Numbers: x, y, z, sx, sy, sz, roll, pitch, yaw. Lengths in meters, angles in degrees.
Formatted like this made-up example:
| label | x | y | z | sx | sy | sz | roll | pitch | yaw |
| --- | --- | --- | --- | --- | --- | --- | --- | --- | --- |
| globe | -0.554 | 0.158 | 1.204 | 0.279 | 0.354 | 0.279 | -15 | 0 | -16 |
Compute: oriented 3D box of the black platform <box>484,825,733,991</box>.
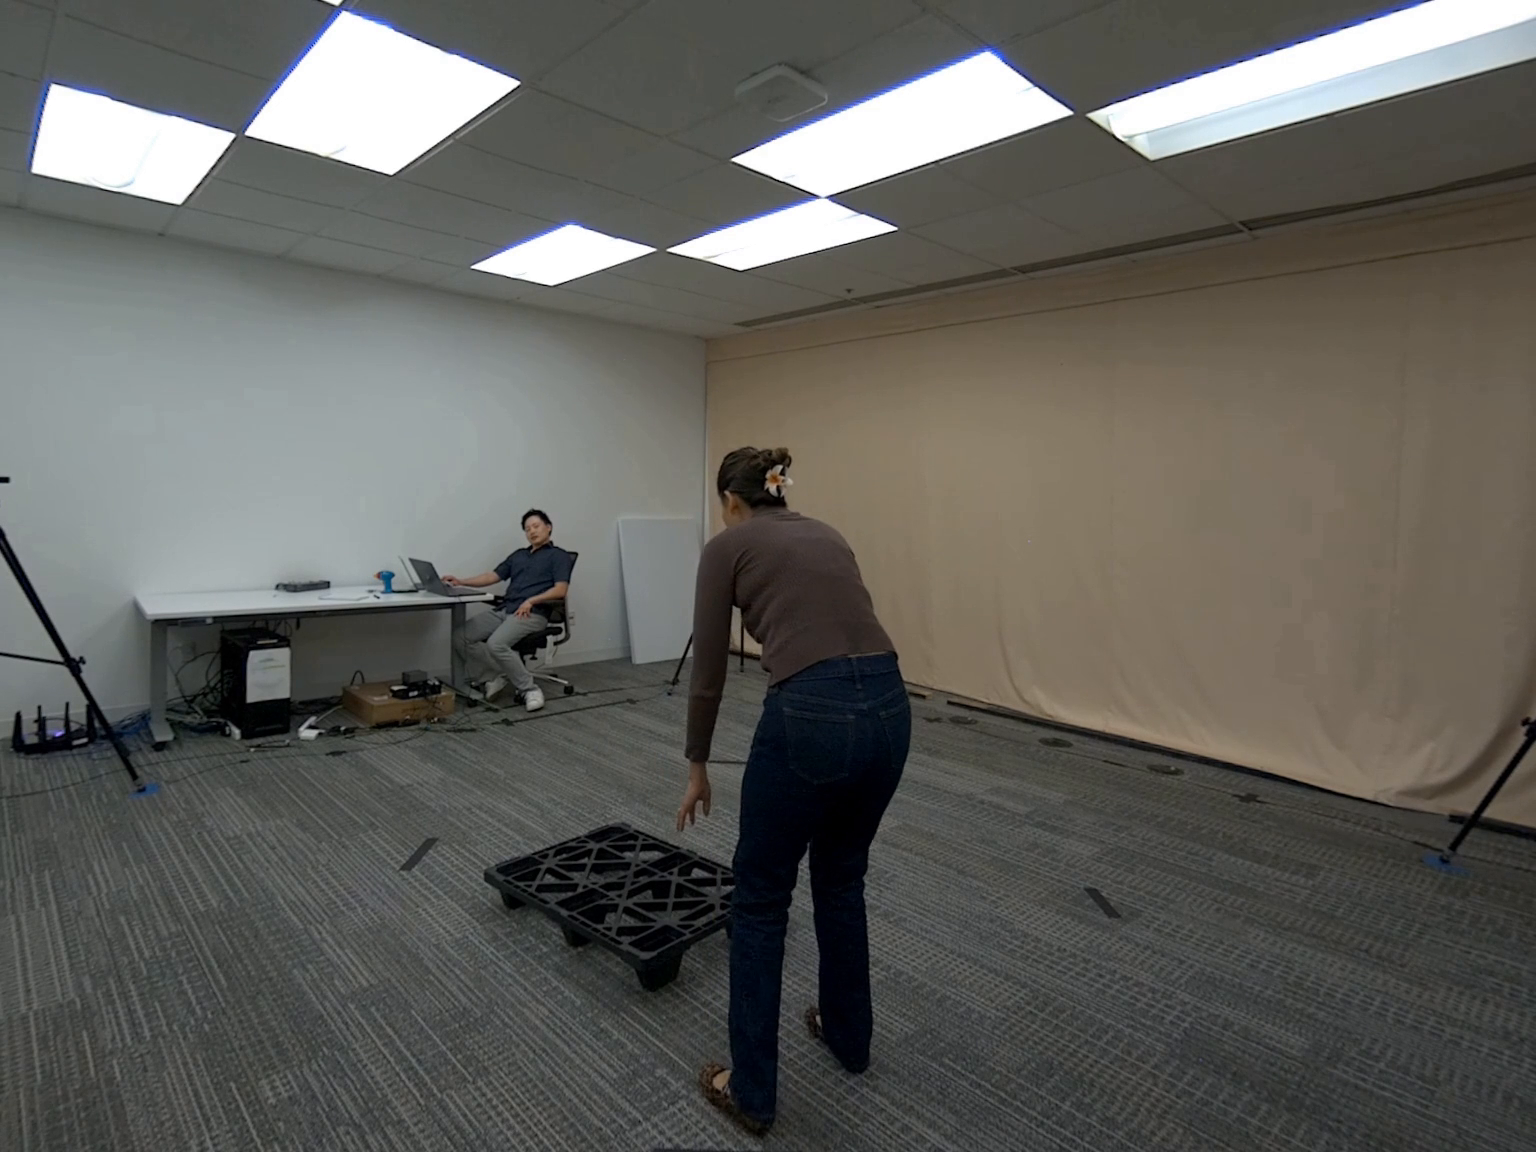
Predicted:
| label | x | y | z | sx | sy | sz | roll | pitch | yaw |
| --- | --- | --- | --- | --- | --- | --- | --- | --- | --- |
| black platform | -0.463 | 1.061 | 2.759 | 0.826 | 0.143 | 0.592 | 5 | 7 | 40 |
